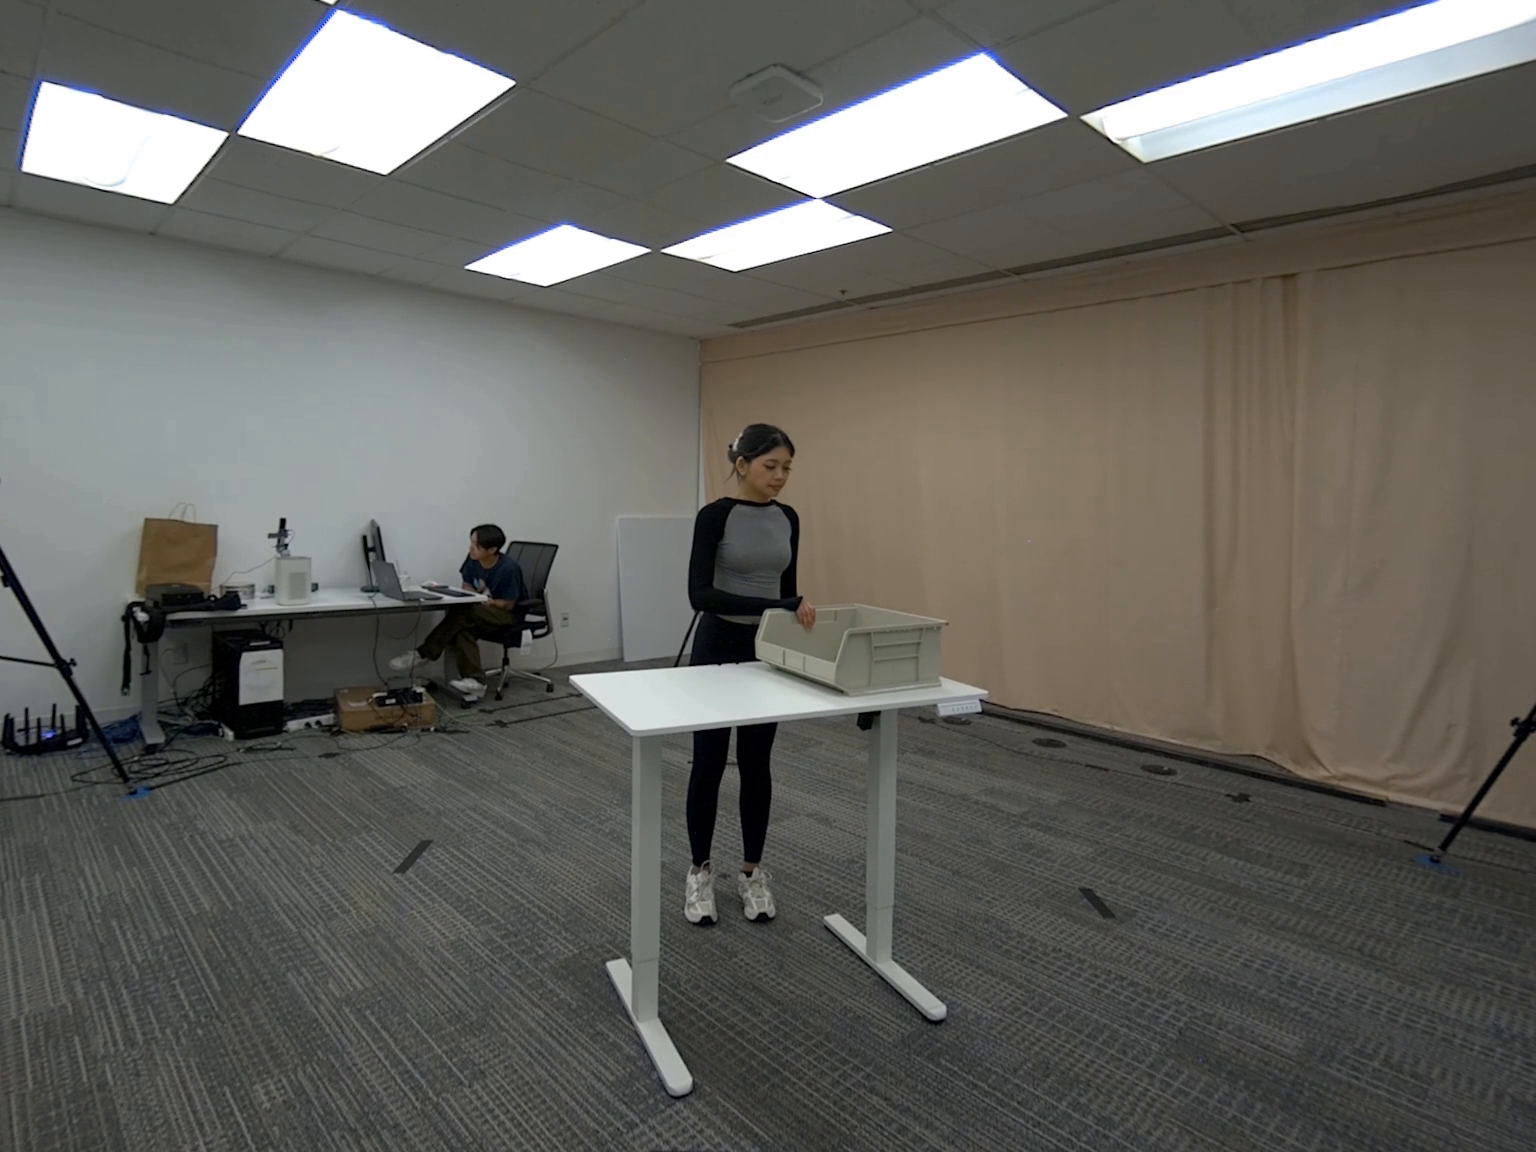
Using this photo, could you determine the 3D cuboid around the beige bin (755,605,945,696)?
[{"bbox_3d":[0.221,0.209,2.417,0.370,0.188,0.432,0,4,-29],"label":"beige bin"}]
